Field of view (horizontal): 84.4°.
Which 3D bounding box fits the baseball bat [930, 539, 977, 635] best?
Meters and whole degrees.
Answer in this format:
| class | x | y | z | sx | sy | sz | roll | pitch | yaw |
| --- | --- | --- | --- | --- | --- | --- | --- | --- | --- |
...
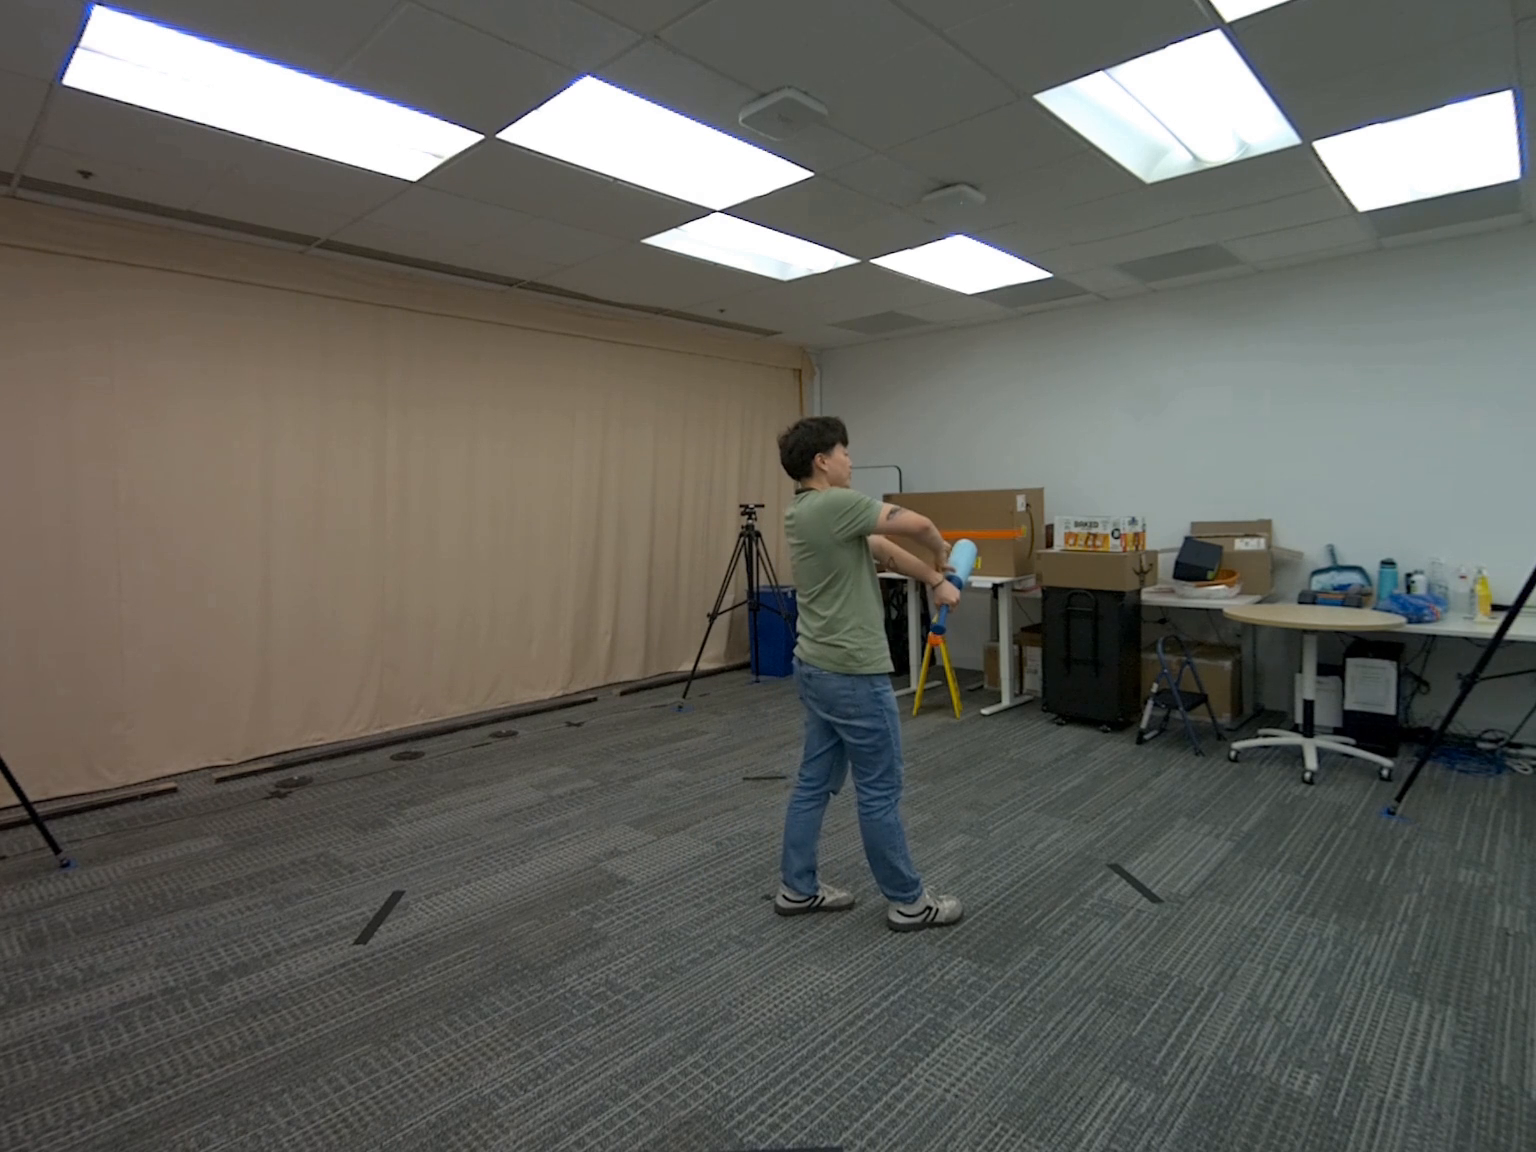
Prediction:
| class | x | y | z | sx | sy | sz | roll | pitch | yaw |
| --- | --- | --- | --- | --- | --- | --- | --- | --- | --- |
| baseball bat | 0.649 | 0.040 | 2.933 | 0.091 | 0.087 | 0.540 | 1 | 32 | 27 |
